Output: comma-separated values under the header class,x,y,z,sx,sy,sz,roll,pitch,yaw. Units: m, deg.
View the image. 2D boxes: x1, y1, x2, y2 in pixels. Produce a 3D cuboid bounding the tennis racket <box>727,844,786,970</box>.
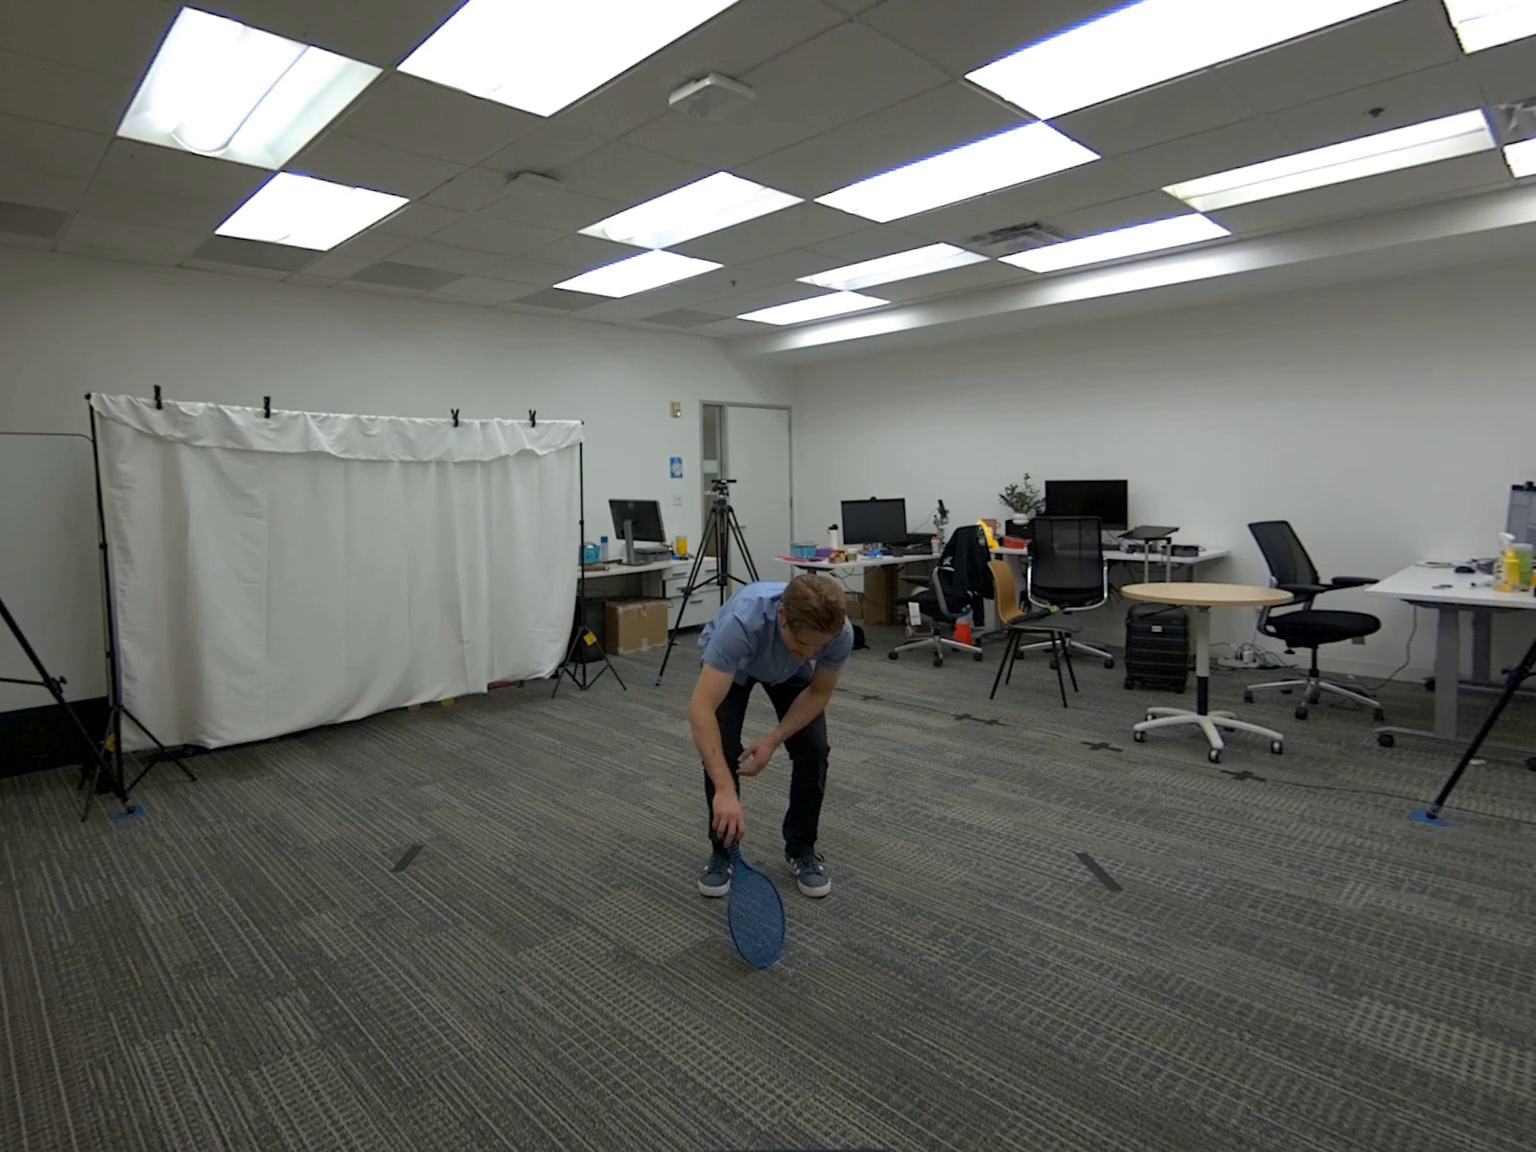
class,x,y,z,sx,sy,sz,roll,pitch,yaw
tennis racket,-0.057,0.909,2.492,0.032,0.434,0.210,-22,-2,44
